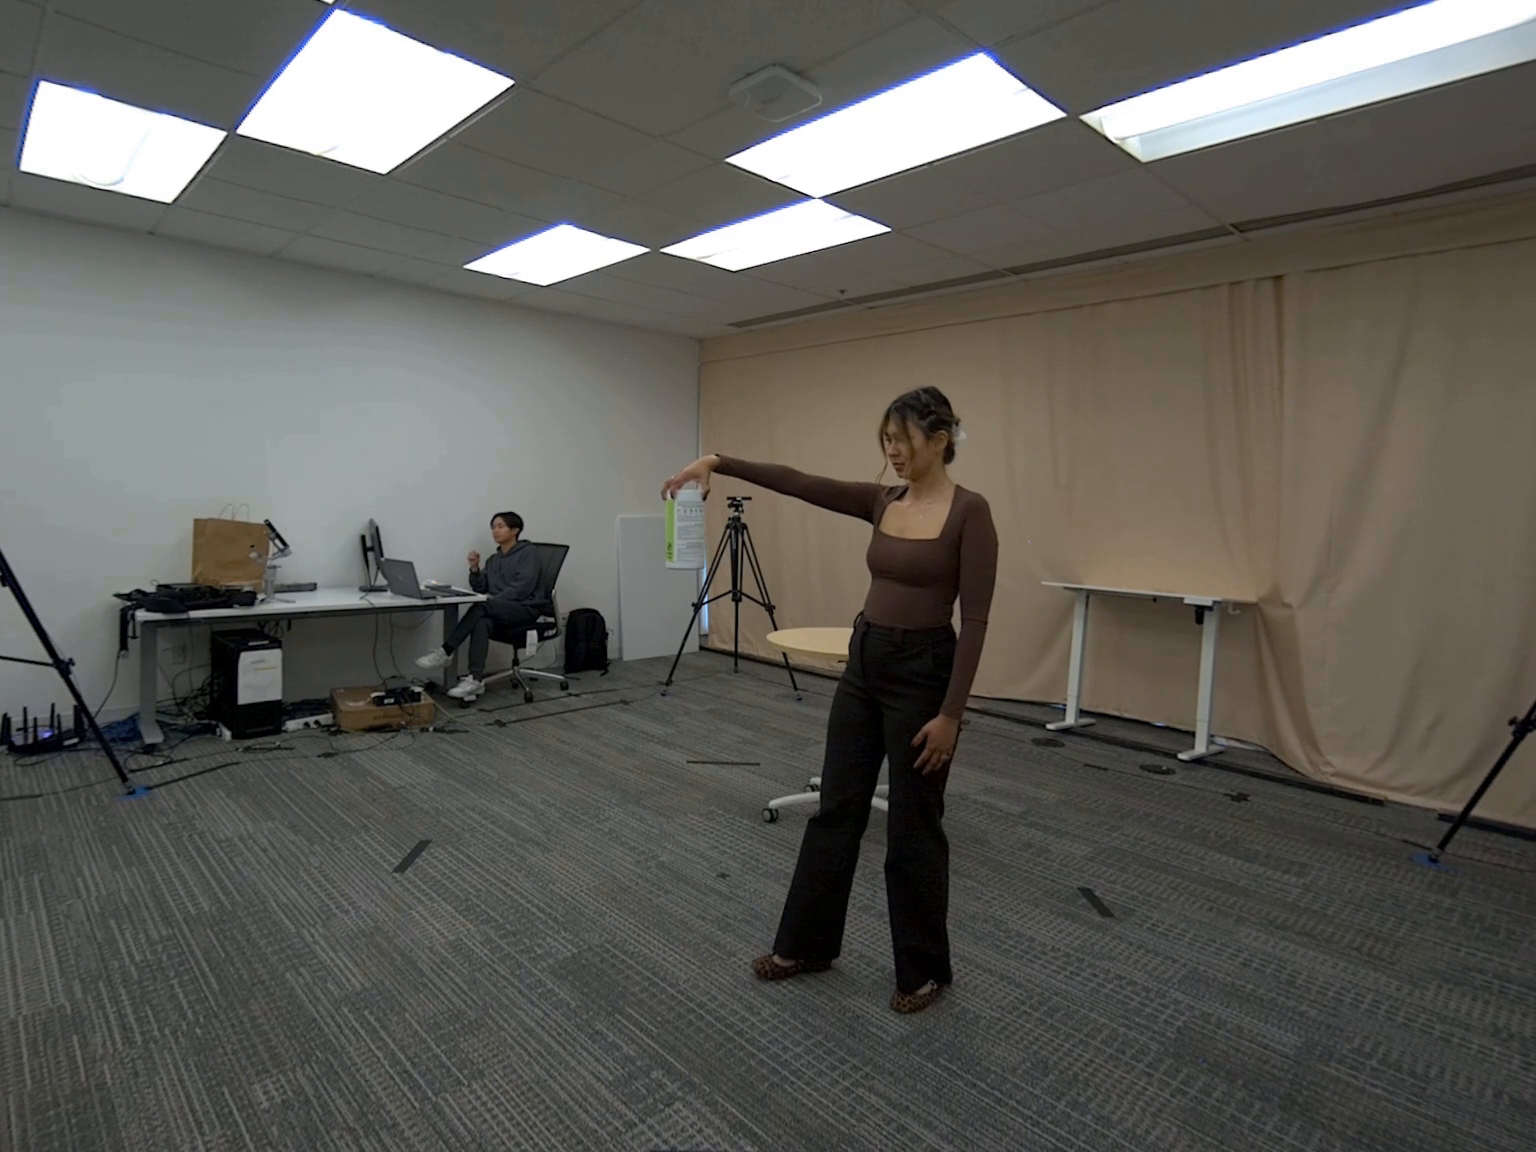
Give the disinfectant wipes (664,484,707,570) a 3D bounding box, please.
[{"bbox_3d":[-0.223,-0.128,2.289,0.118,0.217,0.118,-2,0,-1],"label":"disinfectant wipes"}]
